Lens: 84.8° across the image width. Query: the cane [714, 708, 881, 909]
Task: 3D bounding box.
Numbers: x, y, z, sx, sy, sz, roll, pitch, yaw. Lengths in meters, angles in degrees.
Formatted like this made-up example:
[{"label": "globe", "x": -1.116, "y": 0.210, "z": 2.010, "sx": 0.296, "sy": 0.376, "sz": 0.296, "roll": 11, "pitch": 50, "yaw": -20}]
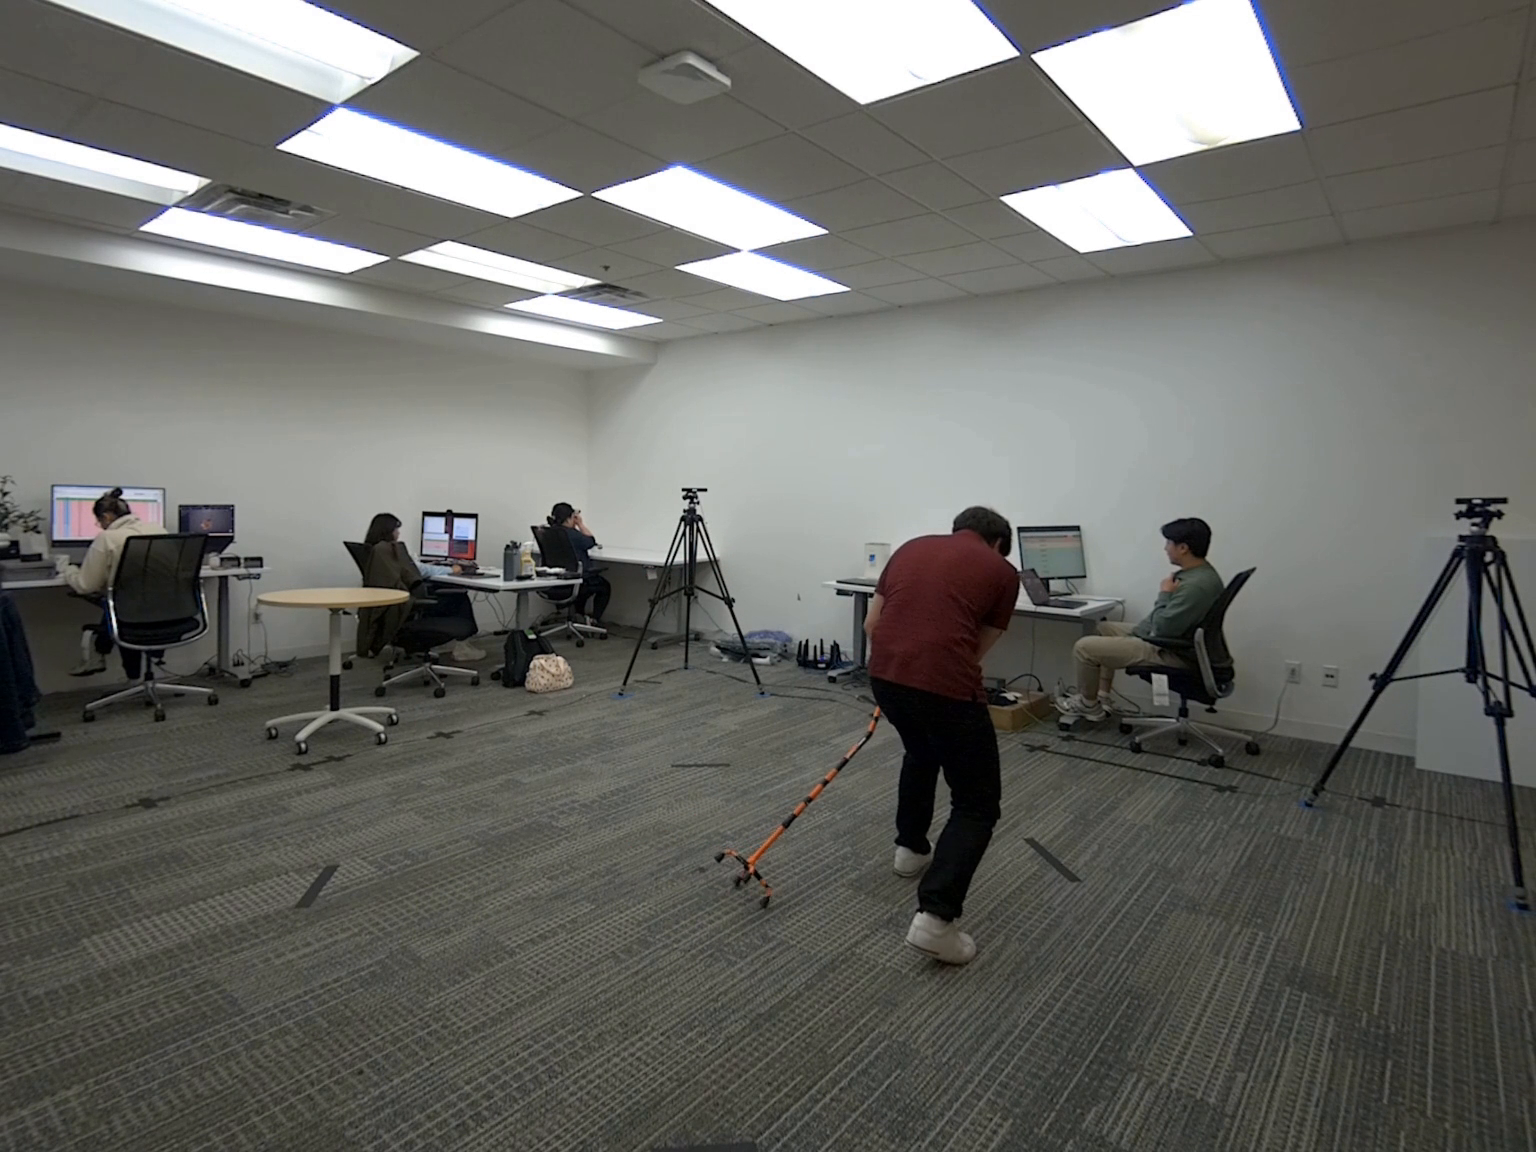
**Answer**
[{"label": "cane", "x": 0.203, "y": 0.746, "z": 3.048, "sx": 0.905, "sy": 0.147, "sz": 0.213, "roll": -42, "pitch": 24, "yaw": -22}]
